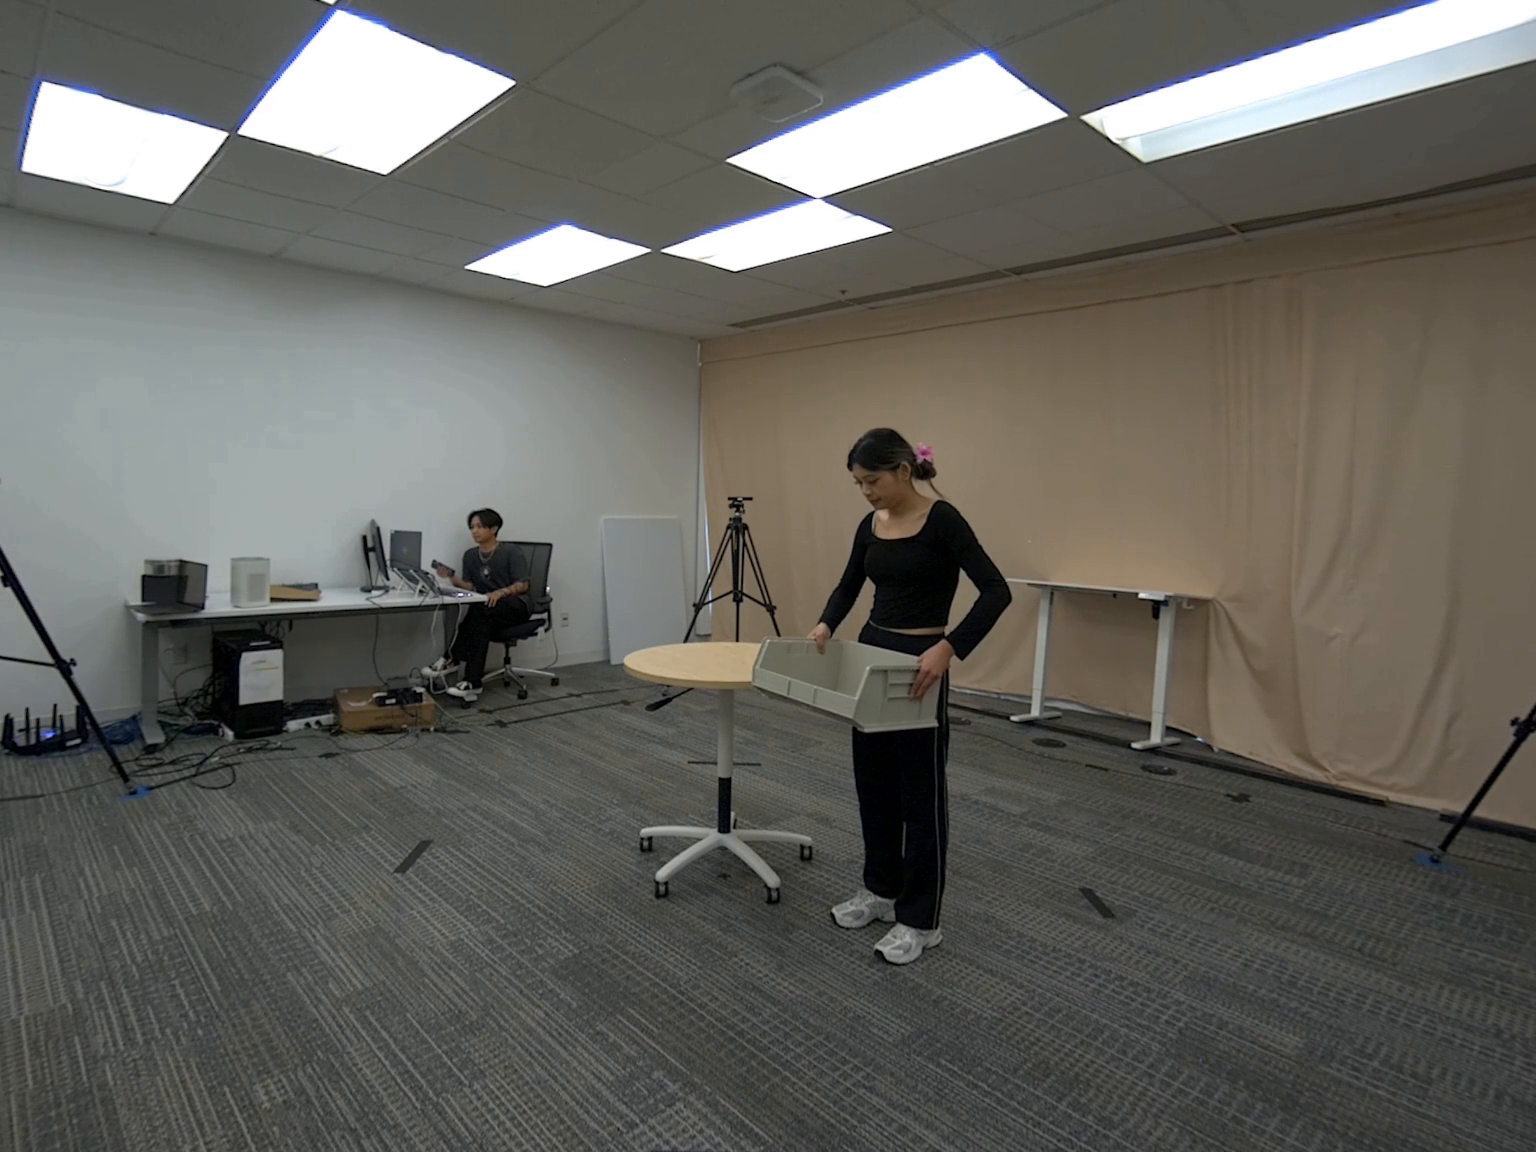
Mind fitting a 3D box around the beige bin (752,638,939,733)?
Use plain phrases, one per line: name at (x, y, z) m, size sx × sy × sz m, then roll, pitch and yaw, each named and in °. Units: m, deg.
beige bin at (0.218, 0.304, 2.430) m, size 0.367 × 0.189 × 0.433 m, roll 7°, pitch 1°, yaw -41°
